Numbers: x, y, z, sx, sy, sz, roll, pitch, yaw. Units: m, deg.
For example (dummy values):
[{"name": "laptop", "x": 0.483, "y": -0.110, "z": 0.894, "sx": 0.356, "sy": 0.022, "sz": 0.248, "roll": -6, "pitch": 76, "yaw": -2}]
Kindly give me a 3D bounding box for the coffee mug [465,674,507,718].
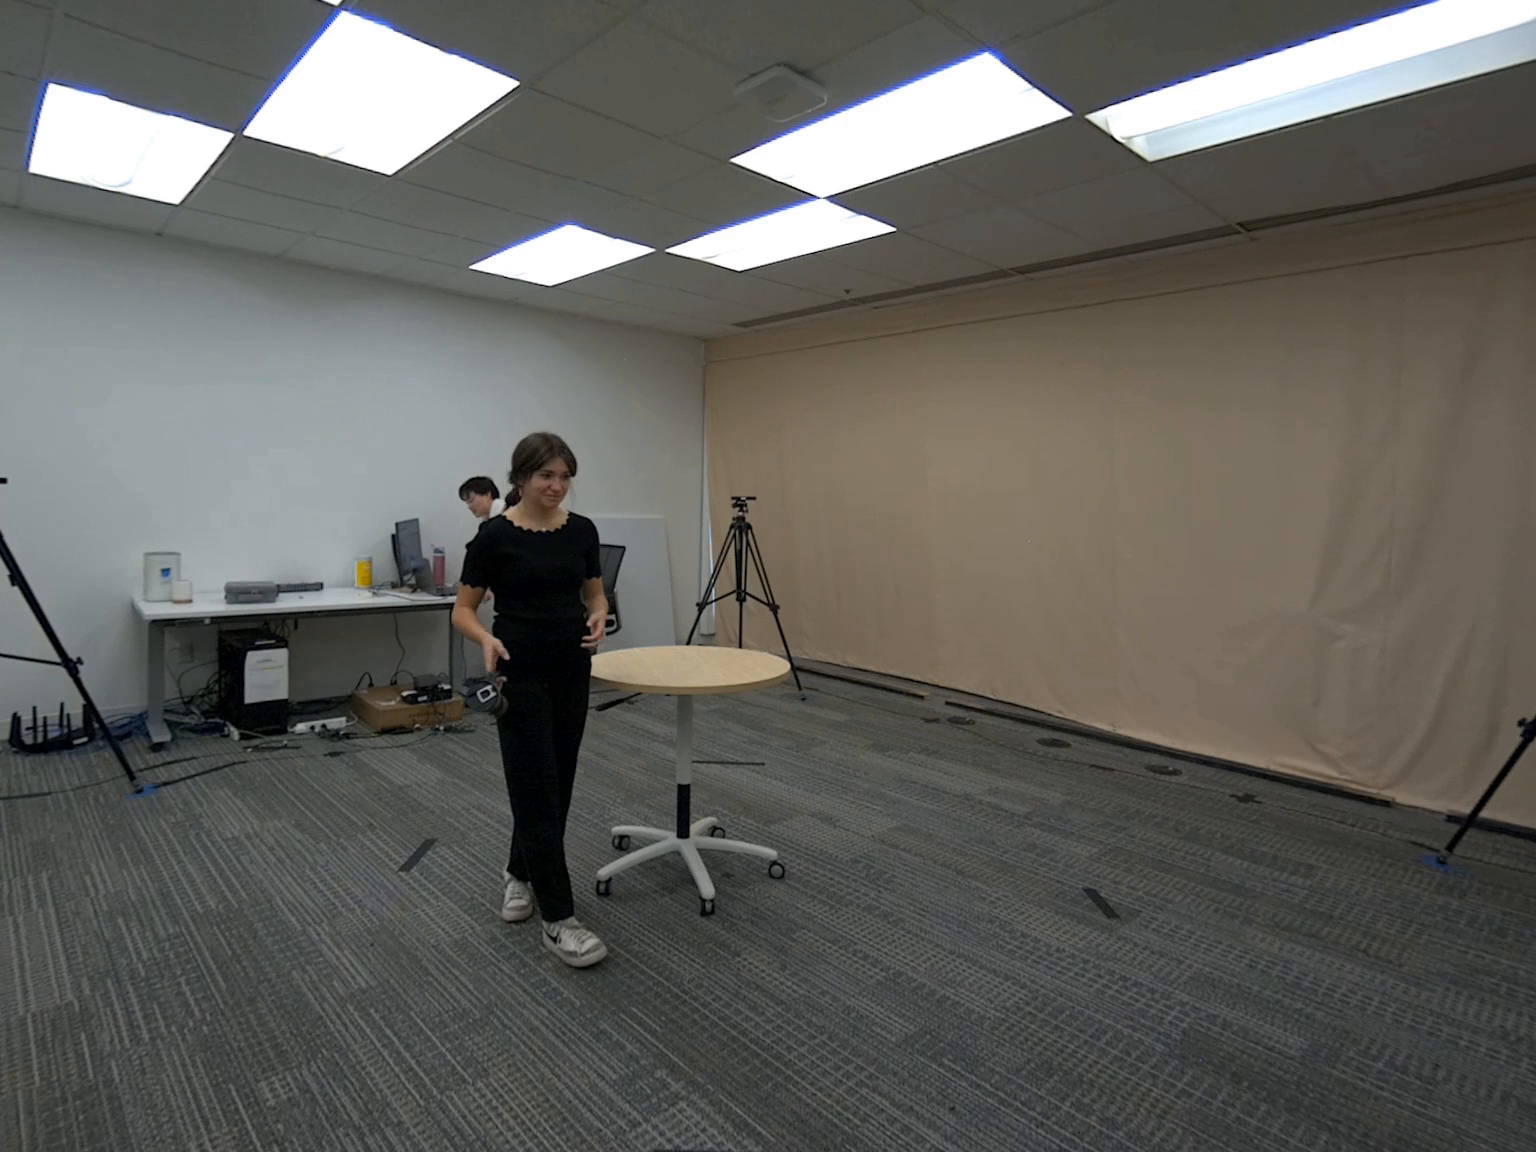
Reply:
[{"name": "coffee mug", "x": -0.798, "y": 0.333, "z": 2.397, "sx": 0.087, "sy": 0.123, "sz": 0.201, "roll": -24, "pitch": -11, "yaw": -8}]
